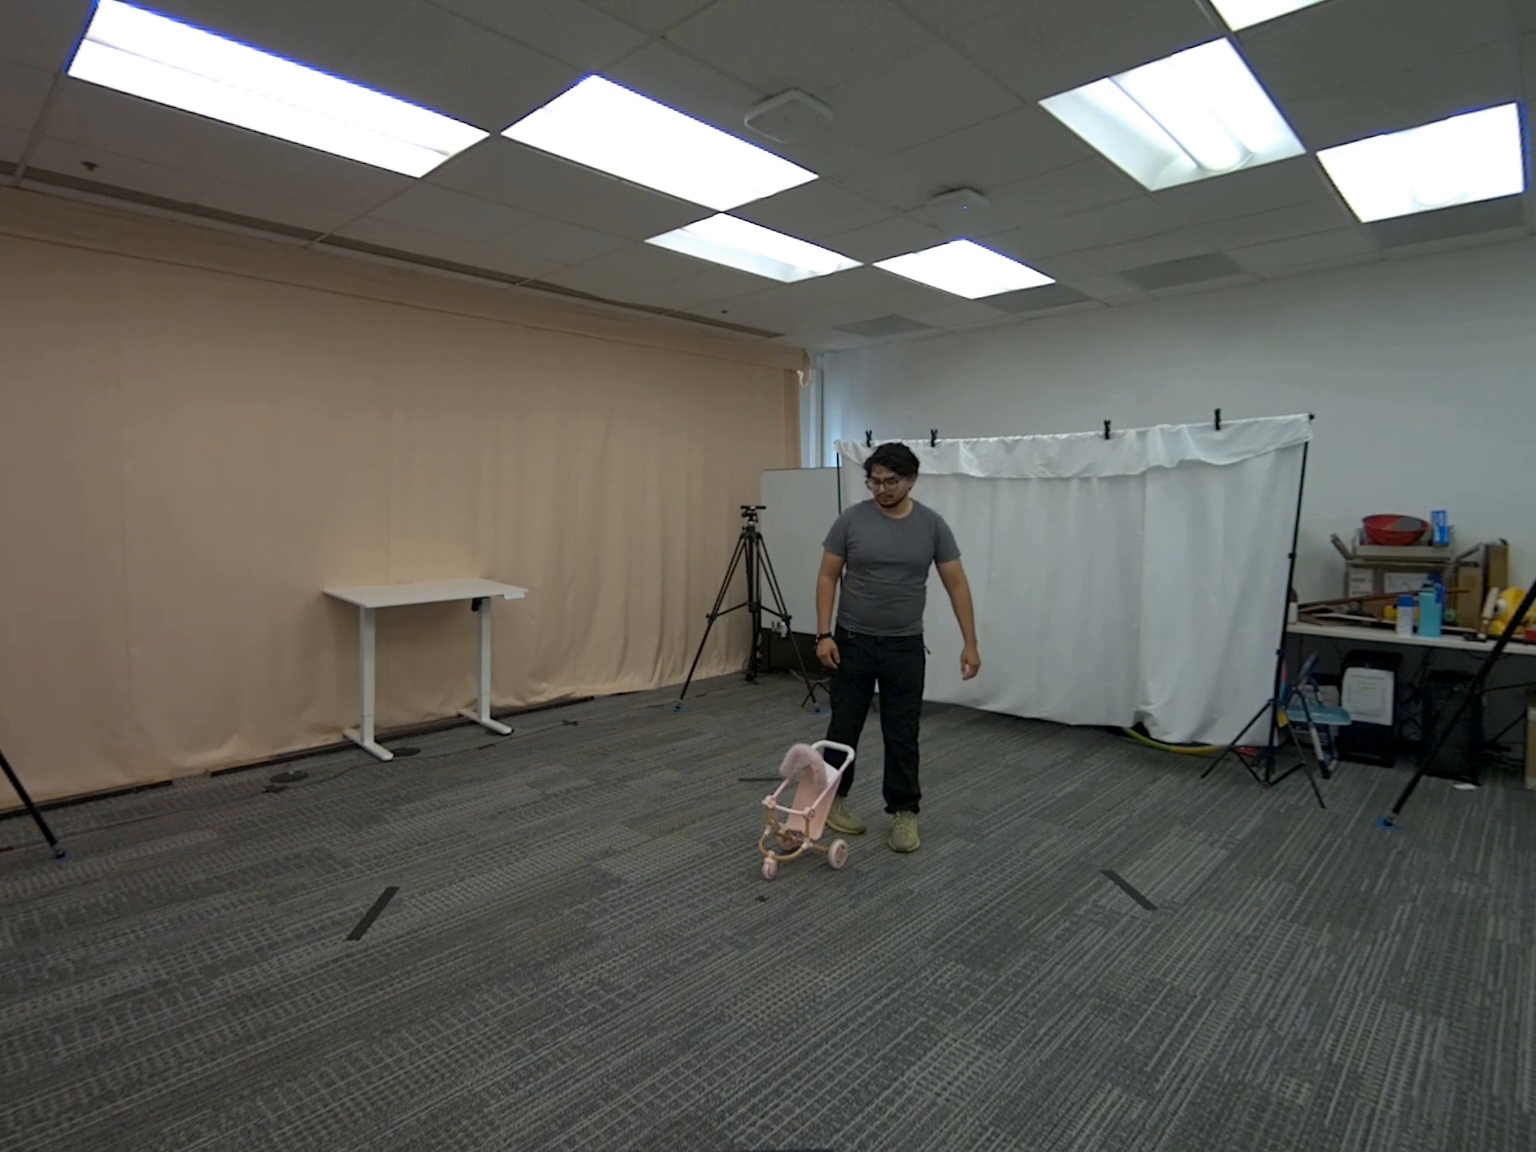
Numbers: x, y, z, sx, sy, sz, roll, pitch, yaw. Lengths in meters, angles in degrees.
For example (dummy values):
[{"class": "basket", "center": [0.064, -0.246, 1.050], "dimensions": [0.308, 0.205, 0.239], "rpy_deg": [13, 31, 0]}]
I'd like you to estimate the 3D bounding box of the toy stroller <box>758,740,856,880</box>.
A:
[{"class": "toy stroller", "center": [0.134, 0.896, 3.265], "dimensions": [0.329, 0.537, 0.291], "rpy_deg": [19, -11, -42]}]
